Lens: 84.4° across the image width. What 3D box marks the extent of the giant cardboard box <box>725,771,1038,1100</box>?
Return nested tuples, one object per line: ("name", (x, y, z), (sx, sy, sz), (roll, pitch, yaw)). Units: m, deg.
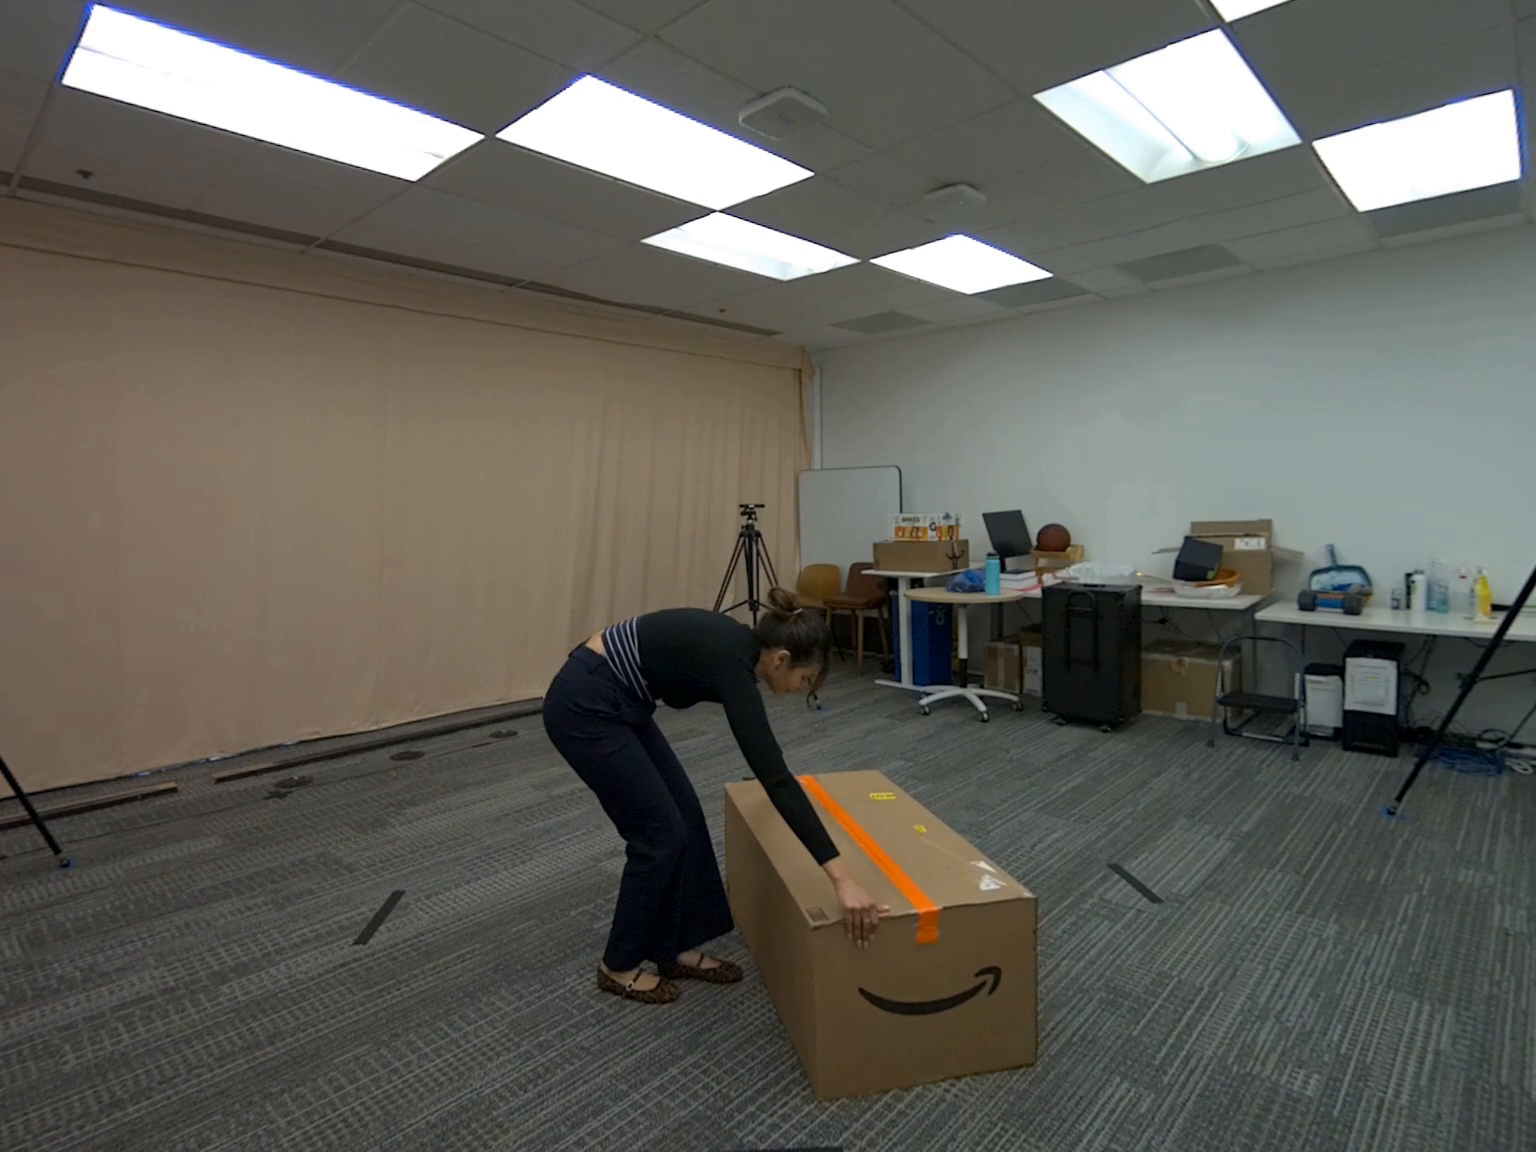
("giant cardboard box", (0.259, 0.960, 2.504), (0.570, 0.425, 1.043), (-2, 5, -14))
